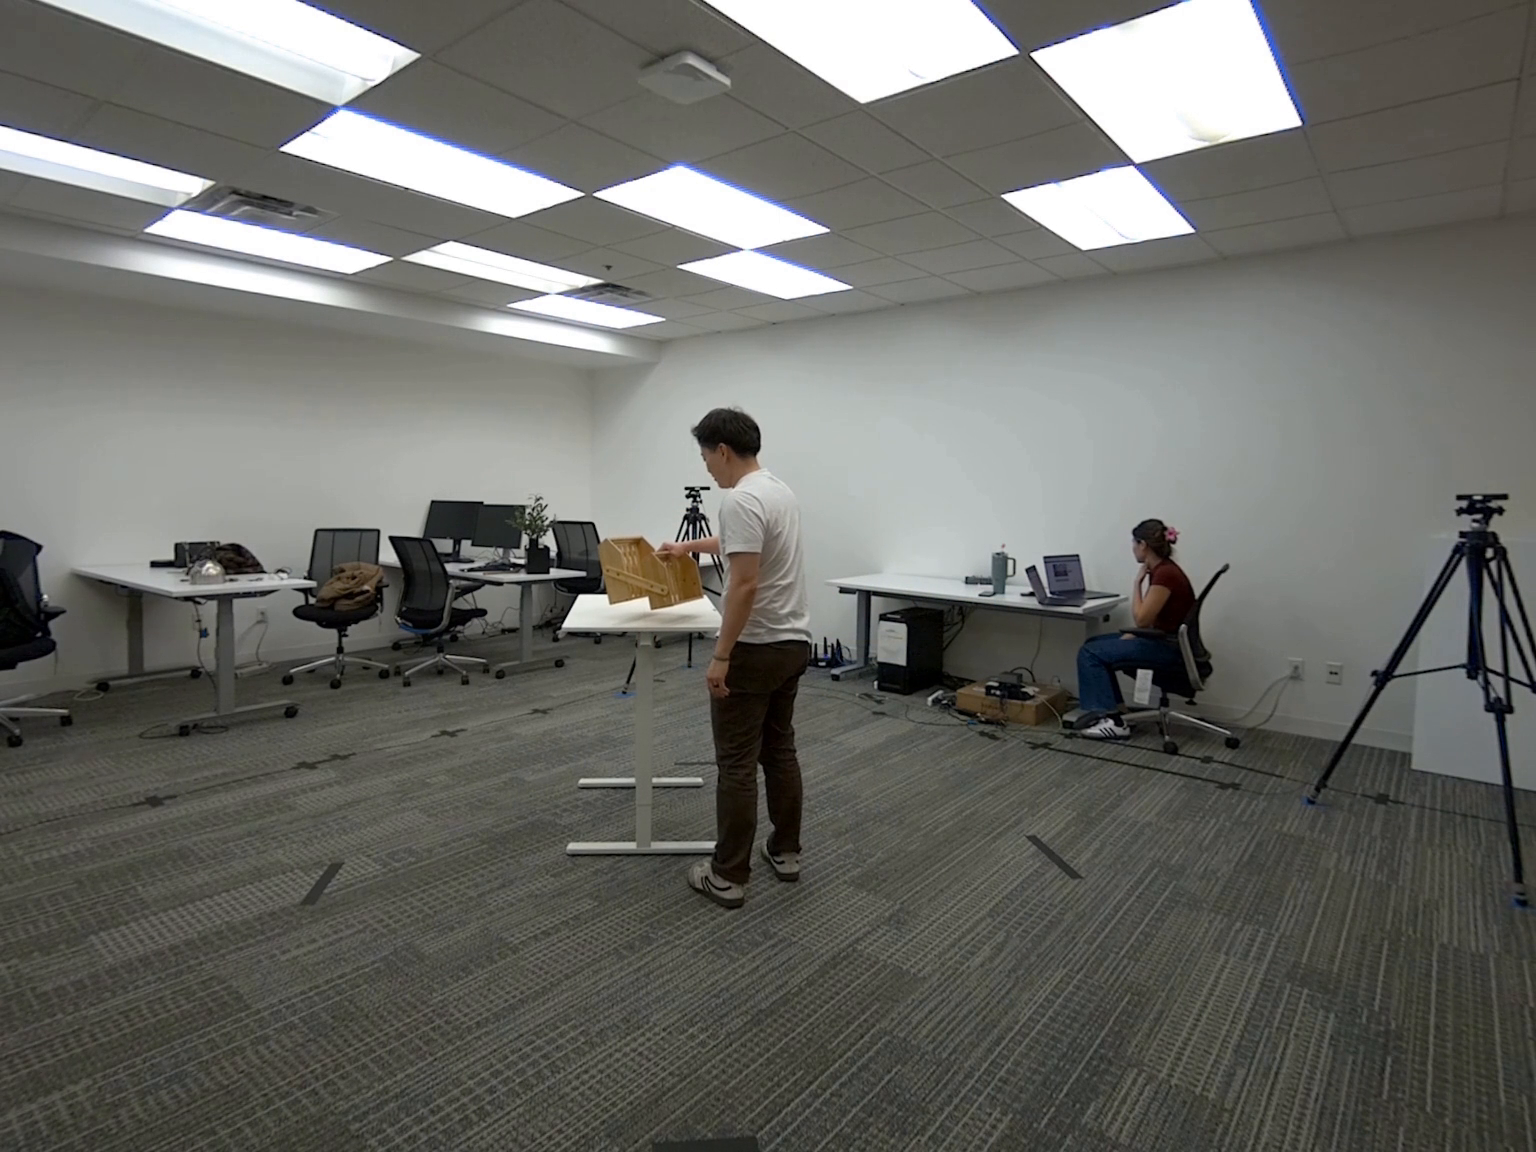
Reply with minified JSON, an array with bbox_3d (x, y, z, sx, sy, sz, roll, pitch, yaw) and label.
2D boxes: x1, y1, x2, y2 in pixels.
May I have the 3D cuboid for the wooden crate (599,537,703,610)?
[{"bbox_3d":[-0.461,-0.026,3.320,0.278,0.303,0.319,-12,-1,19],"label":"wooden crate"}]
